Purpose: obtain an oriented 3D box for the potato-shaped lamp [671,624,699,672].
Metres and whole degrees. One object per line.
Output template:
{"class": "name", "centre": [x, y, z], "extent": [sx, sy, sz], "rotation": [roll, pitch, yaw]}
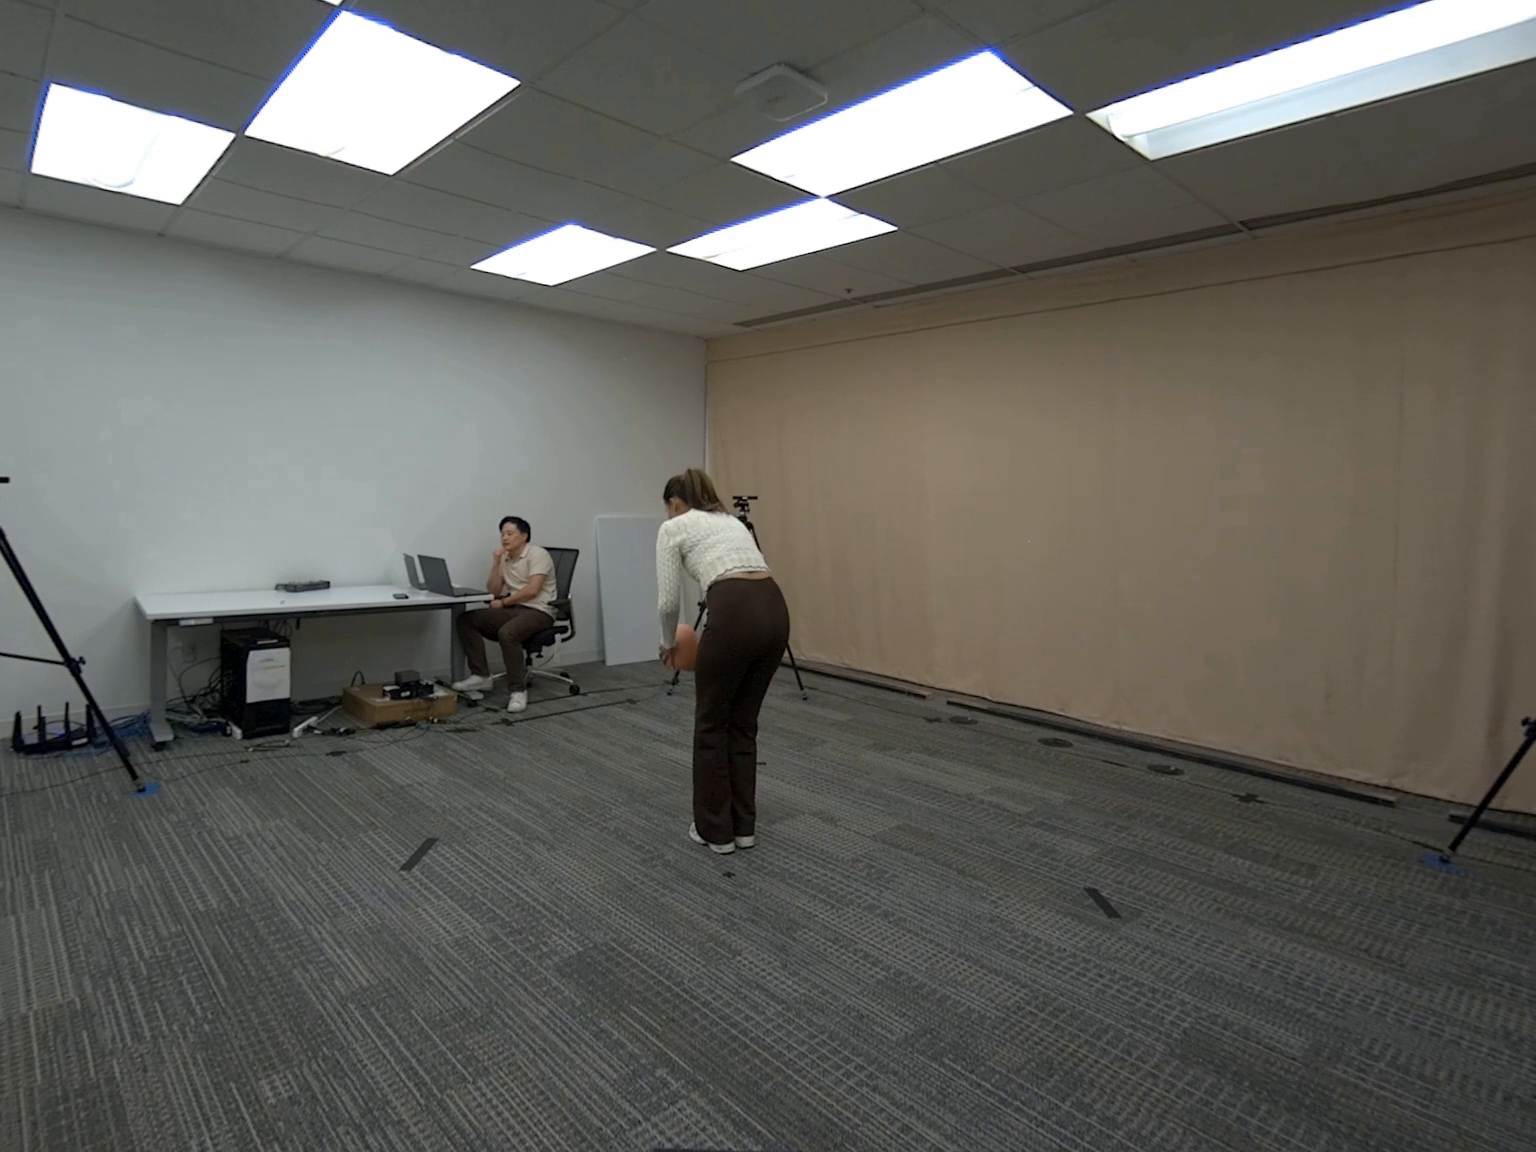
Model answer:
{"class": "potato-shaped lamp", "centre": [-0.369, 0.312, 3.650], "extent": [0.164, 0.197, 0.172], "rotation": [1, 4, -6]}
